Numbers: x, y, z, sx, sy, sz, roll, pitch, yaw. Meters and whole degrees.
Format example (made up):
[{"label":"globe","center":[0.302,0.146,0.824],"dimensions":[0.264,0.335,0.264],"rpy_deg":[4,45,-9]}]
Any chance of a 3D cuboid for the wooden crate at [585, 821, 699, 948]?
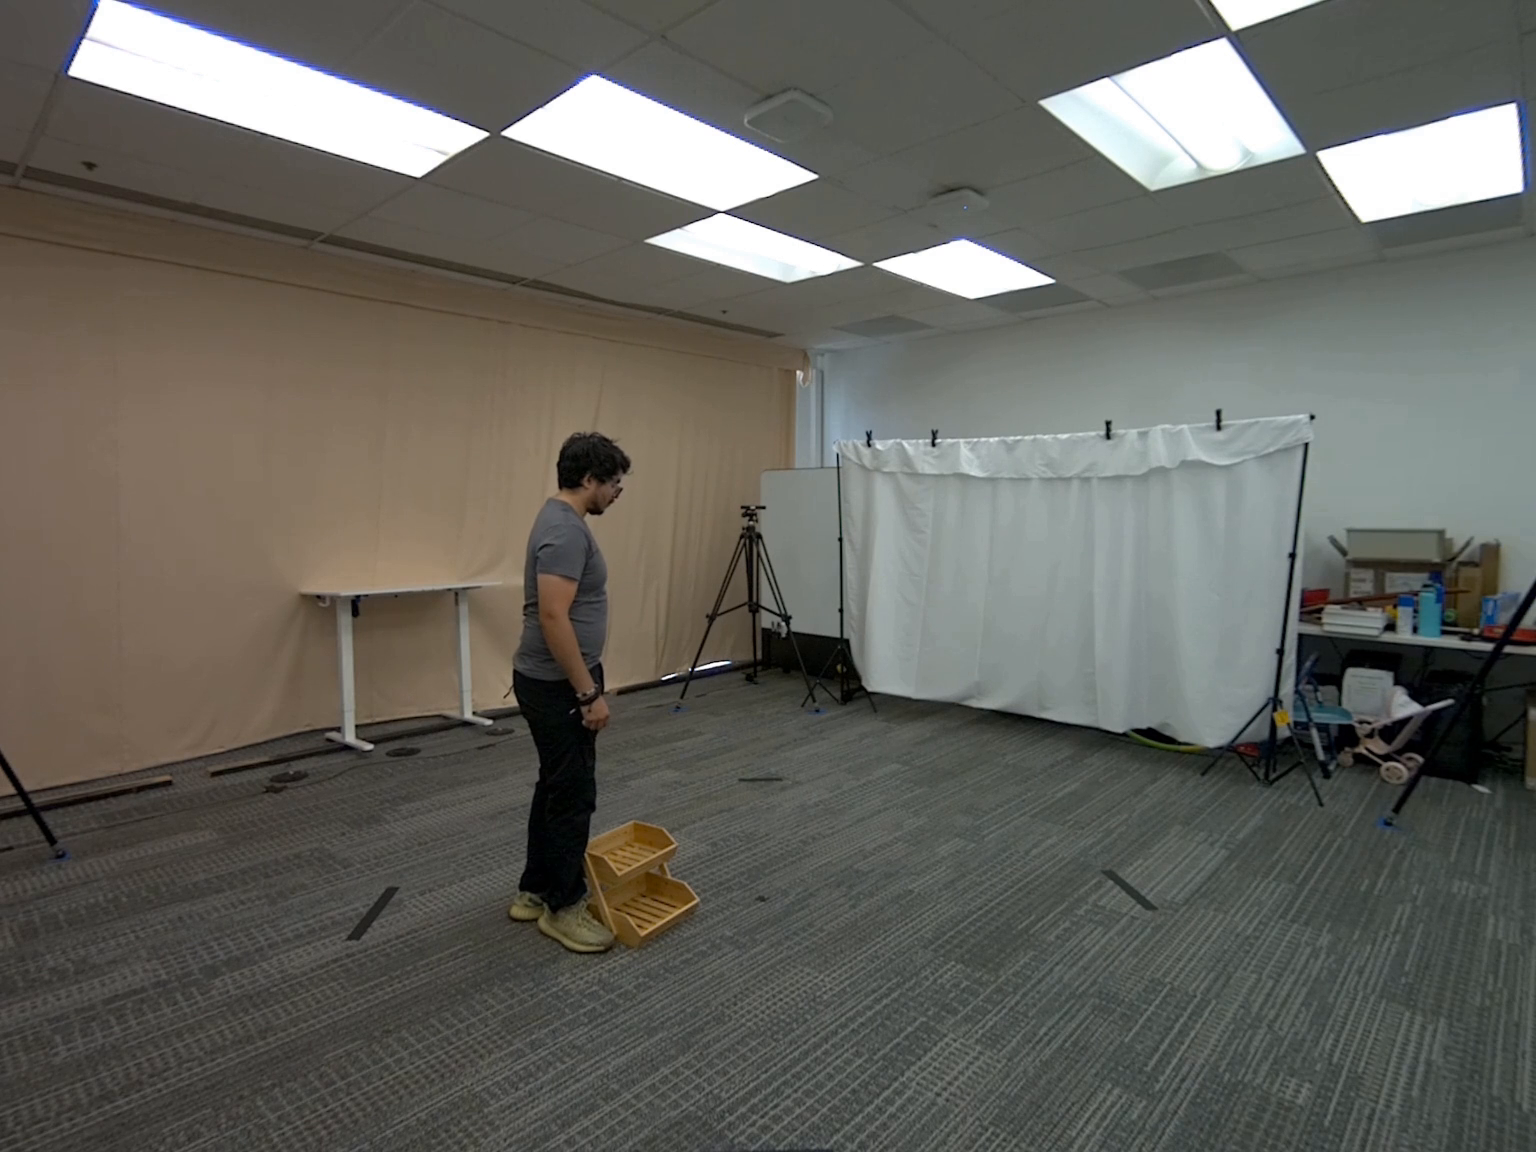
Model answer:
[{"label":"wooden crate","center":[-0.437,1.028,2.829],"dimensions":[0.311,0.273,0.315],"rpy_deg":[1,4,35]}]
